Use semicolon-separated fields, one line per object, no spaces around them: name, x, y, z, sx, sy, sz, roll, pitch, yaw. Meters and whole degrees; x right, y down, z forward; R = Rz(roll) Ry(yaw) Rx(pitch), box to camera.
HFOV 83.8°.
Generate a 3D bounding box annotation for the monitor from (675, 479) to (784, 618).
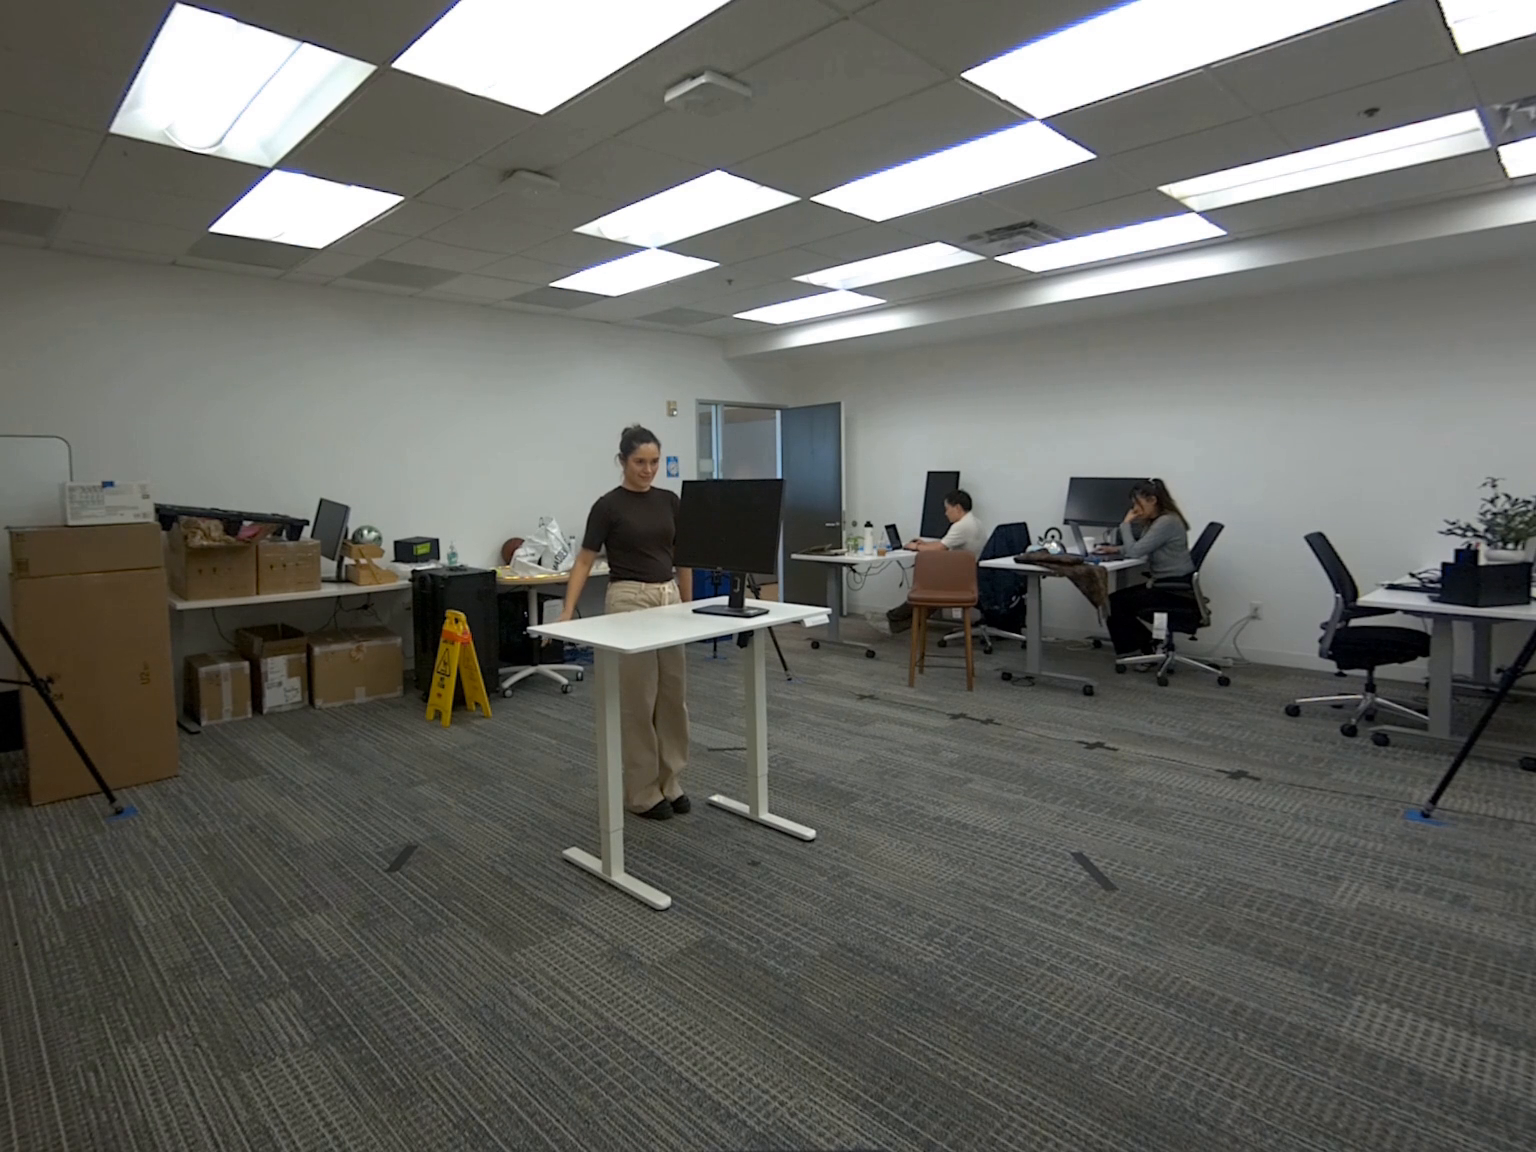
monitor;-0.139;-0.110;3.282;0.556;0.520;0.182;4;6;42
